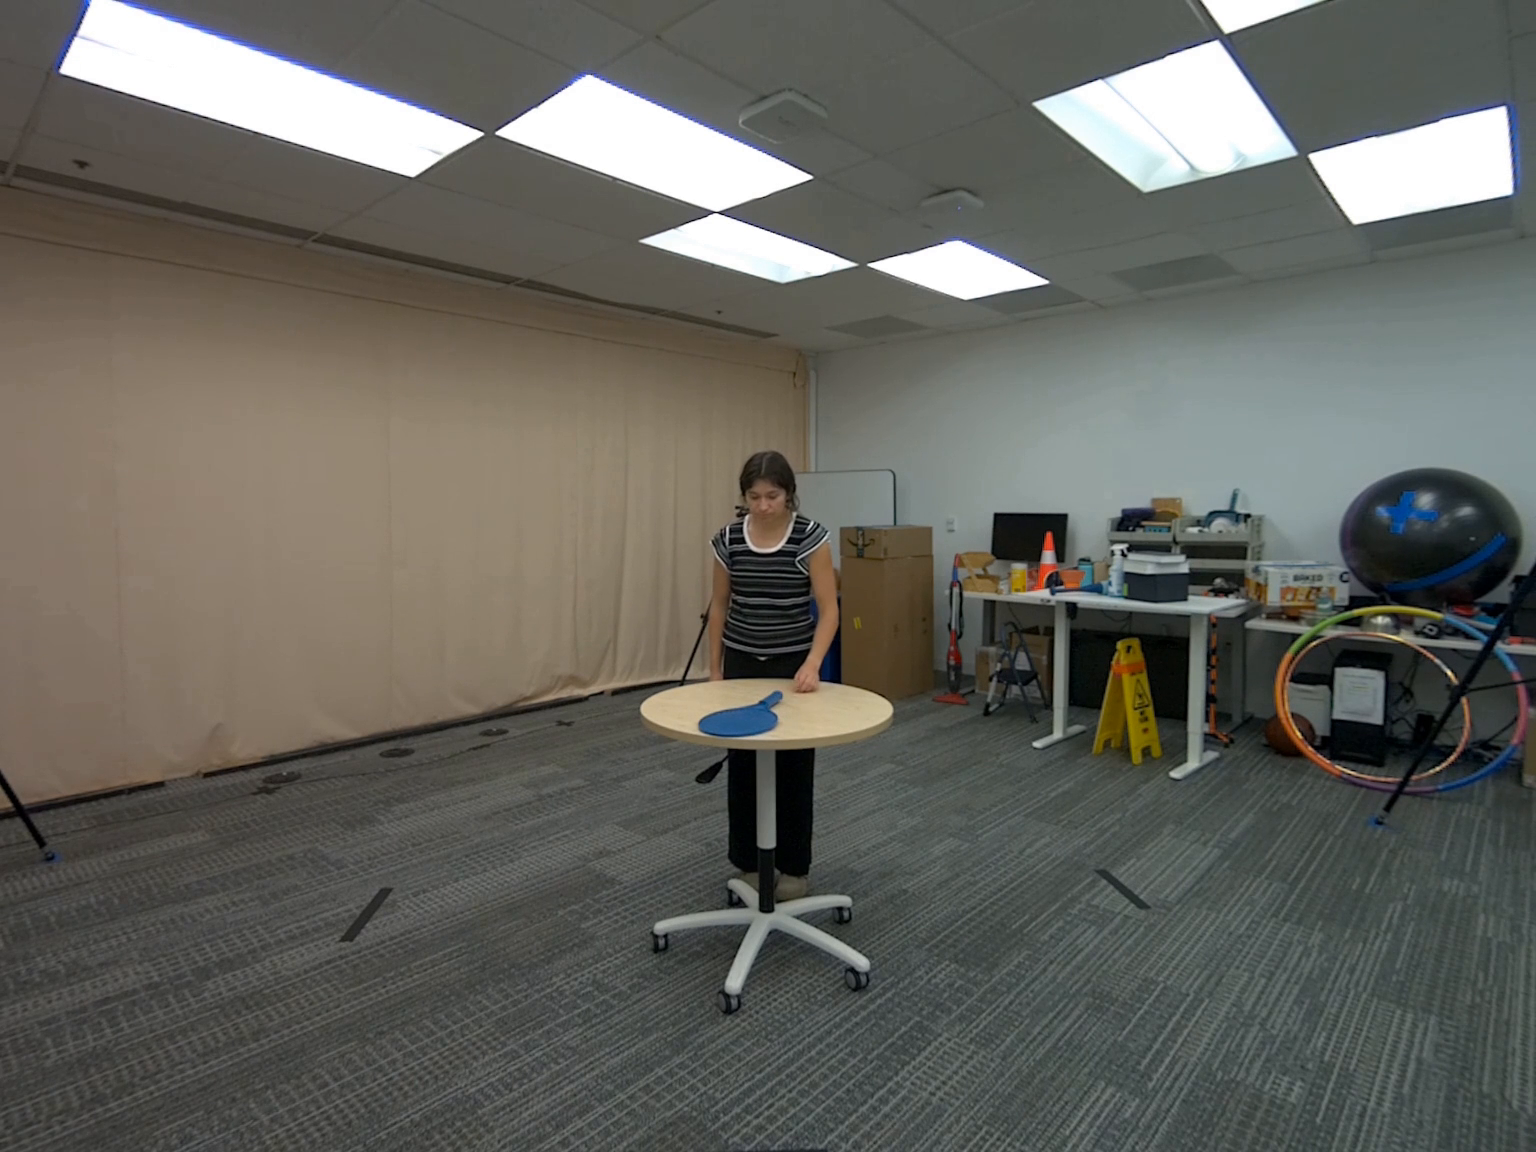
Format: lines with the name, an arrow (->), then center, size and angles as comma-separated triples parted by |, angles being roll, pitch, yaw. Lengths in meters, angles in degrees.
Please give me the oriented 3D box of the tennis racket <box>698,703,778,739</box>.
tennis racket -> -0.046, 0.400, 2.416 | 0.218, 0.031, 0.425 | 3, 7, 19
